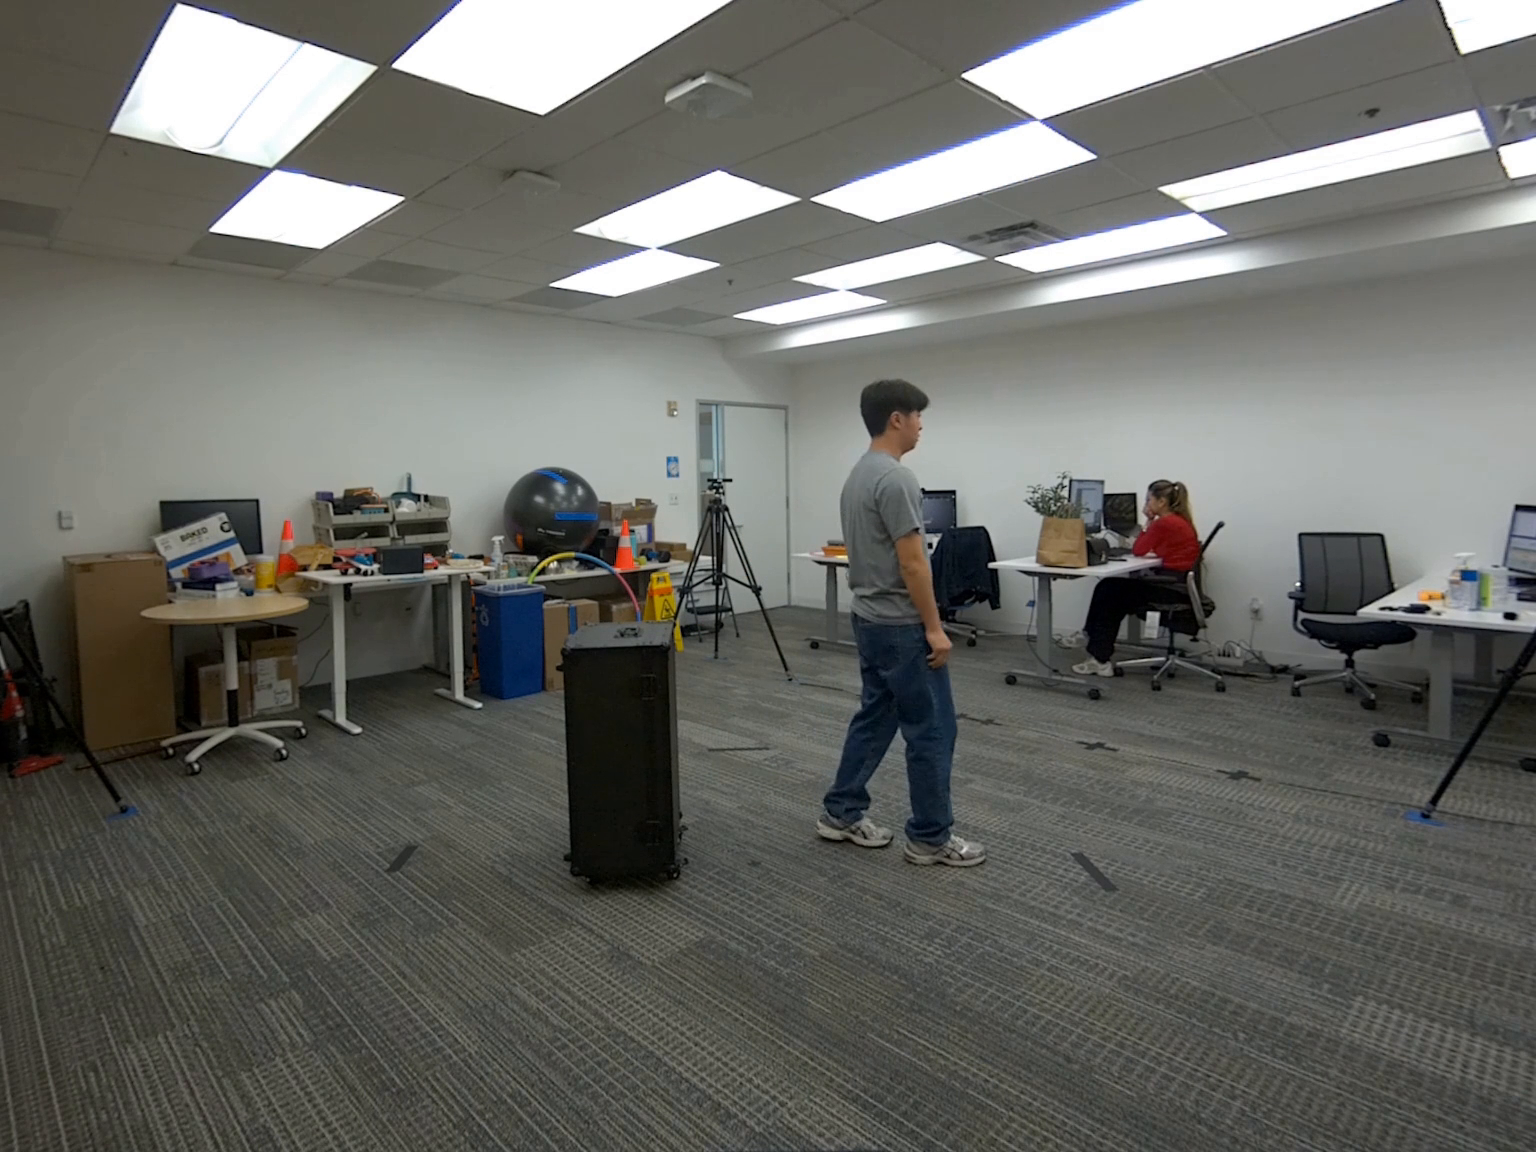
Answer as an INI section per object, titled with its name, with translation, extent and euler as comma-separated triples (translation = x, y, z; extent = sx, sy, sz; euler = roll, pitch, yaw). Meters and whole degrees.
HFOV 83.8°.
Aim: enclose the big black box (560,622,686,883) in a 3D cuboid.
[big black box]
translation = -0.514, 0.570, 3.100
extent = 0.396, 0.858, 0.523
euler = -1, 4, -1
